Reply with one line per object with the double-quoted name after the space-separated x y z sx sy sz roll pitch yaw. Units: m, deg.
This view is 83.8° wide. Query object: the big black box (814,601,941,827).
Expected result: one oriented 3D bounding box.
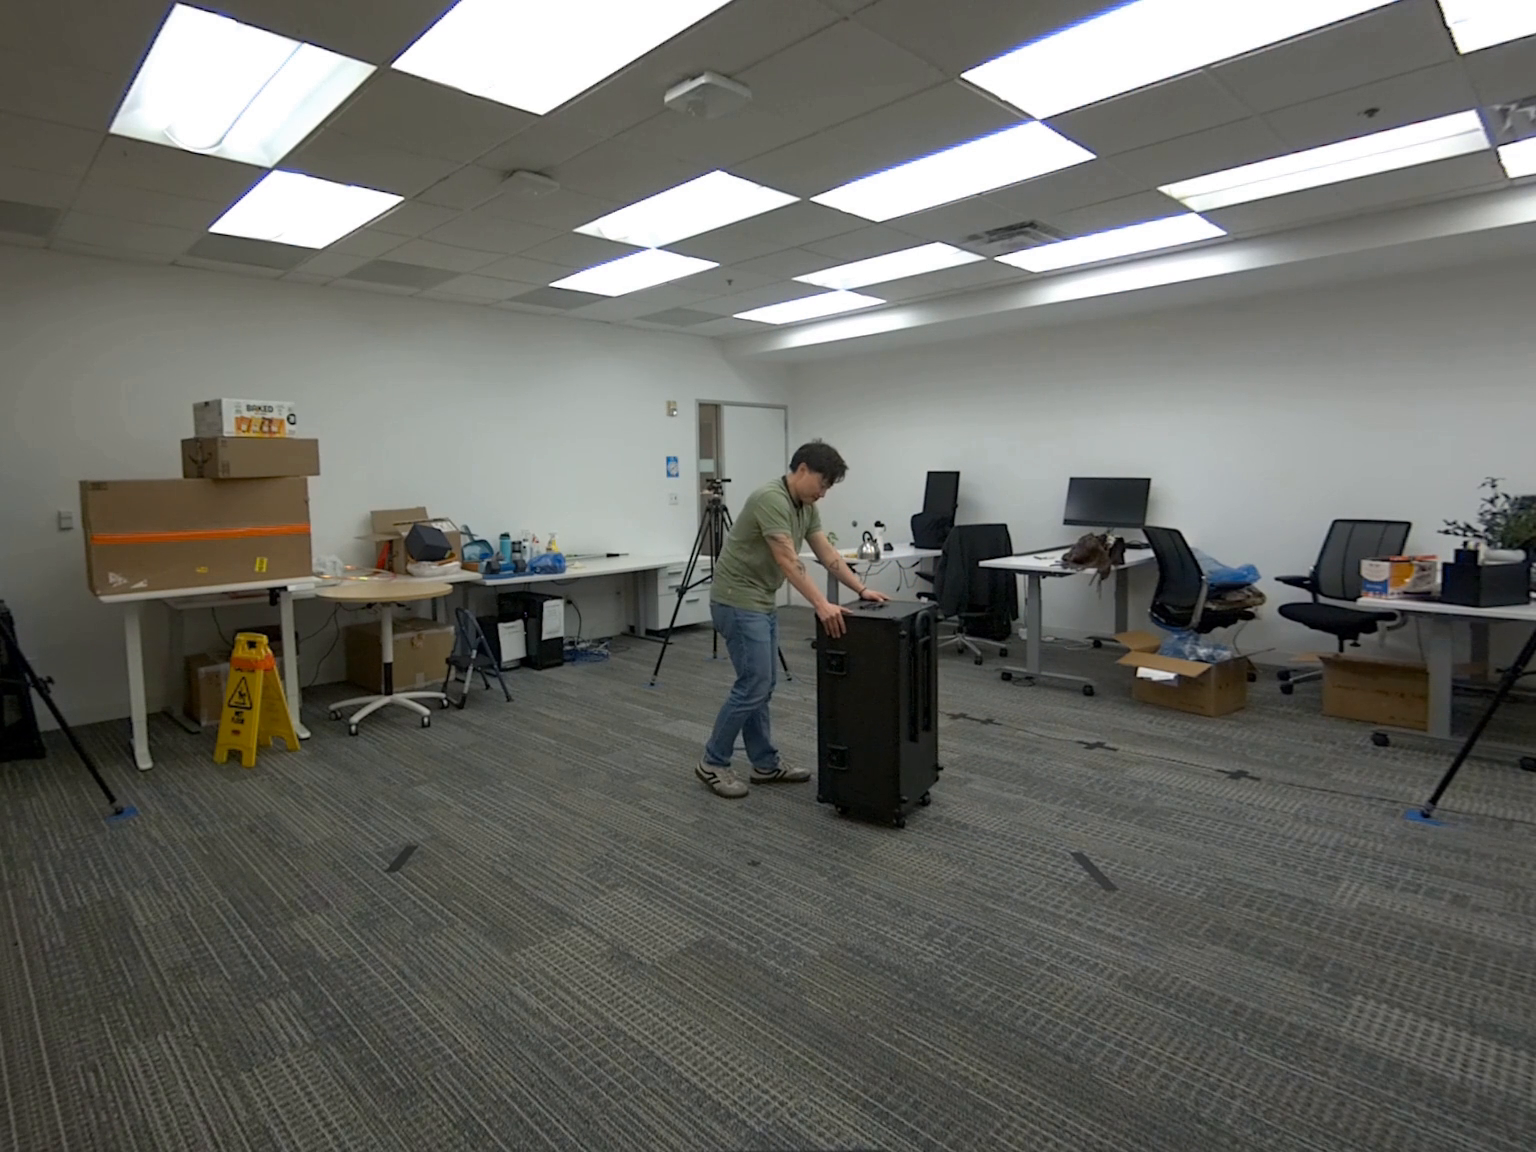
0.483 0.555 3.587 0.407 0.858 0.509 3 5 31 "big black box"
